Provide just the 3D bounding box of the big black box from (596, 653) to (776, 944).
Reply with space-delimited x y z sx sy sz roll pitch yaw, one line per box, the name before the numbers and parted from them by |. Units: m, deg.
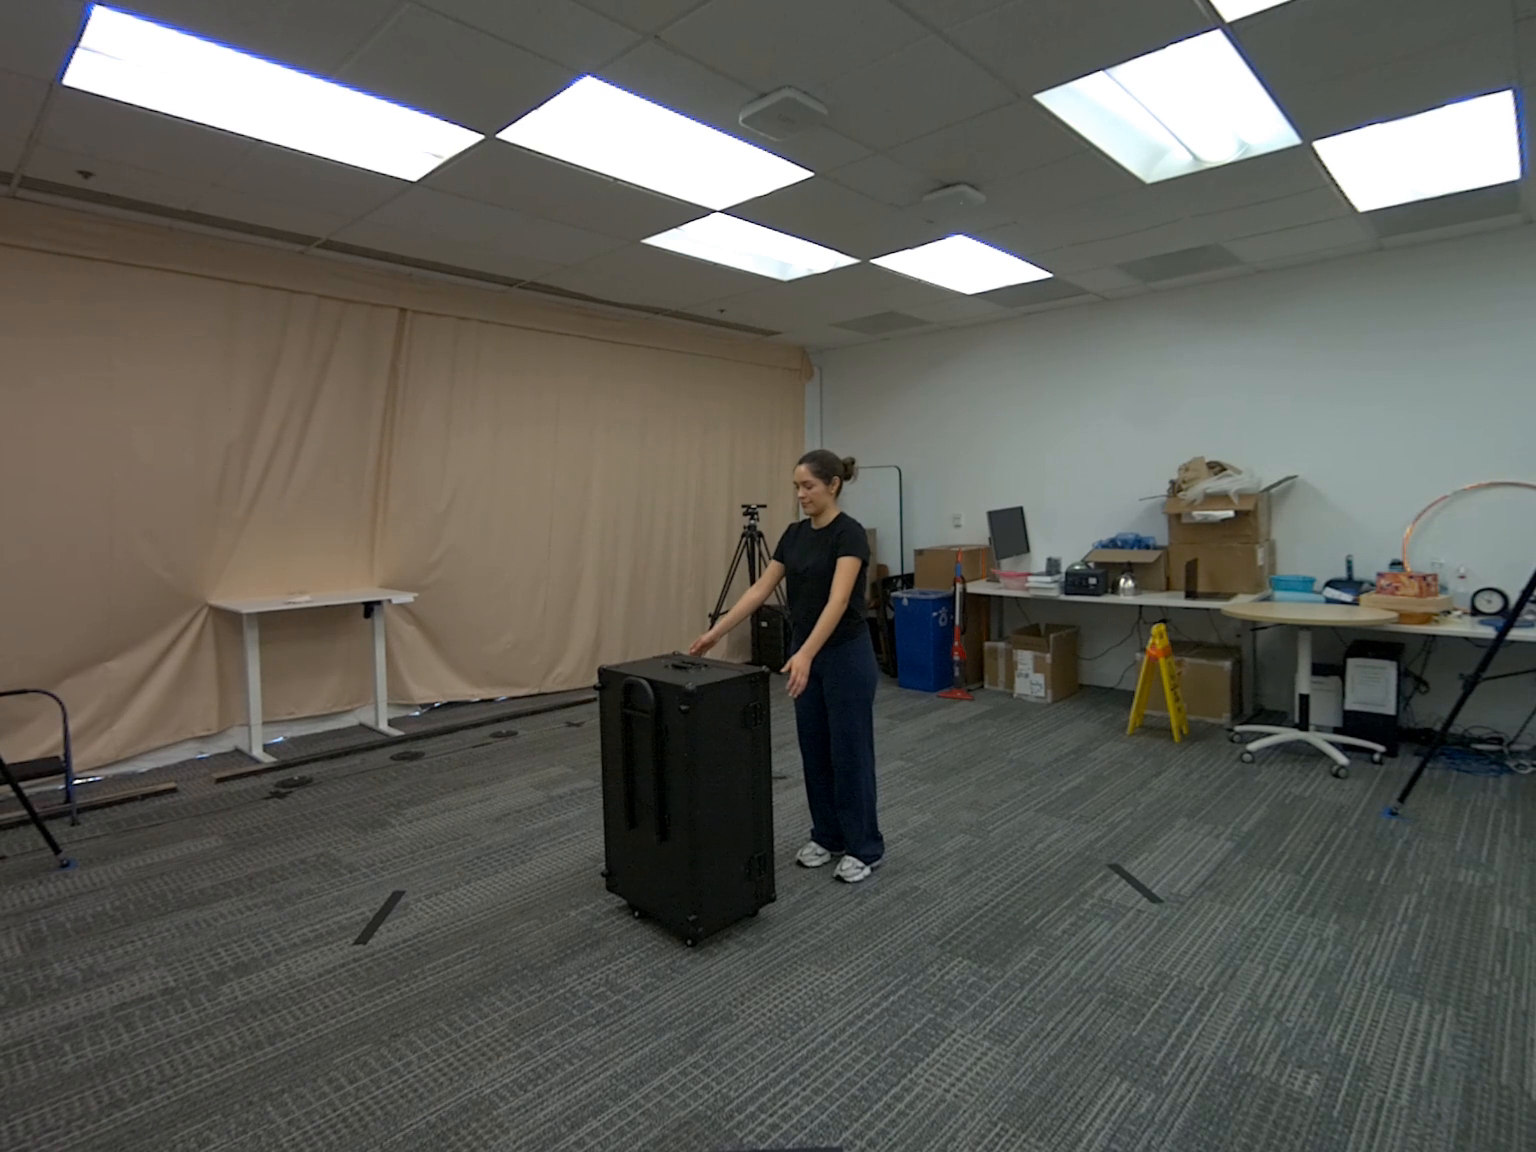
big black box | -0.261 0.734 2.835 0.384 0.859 0.538 -6 6 -44
